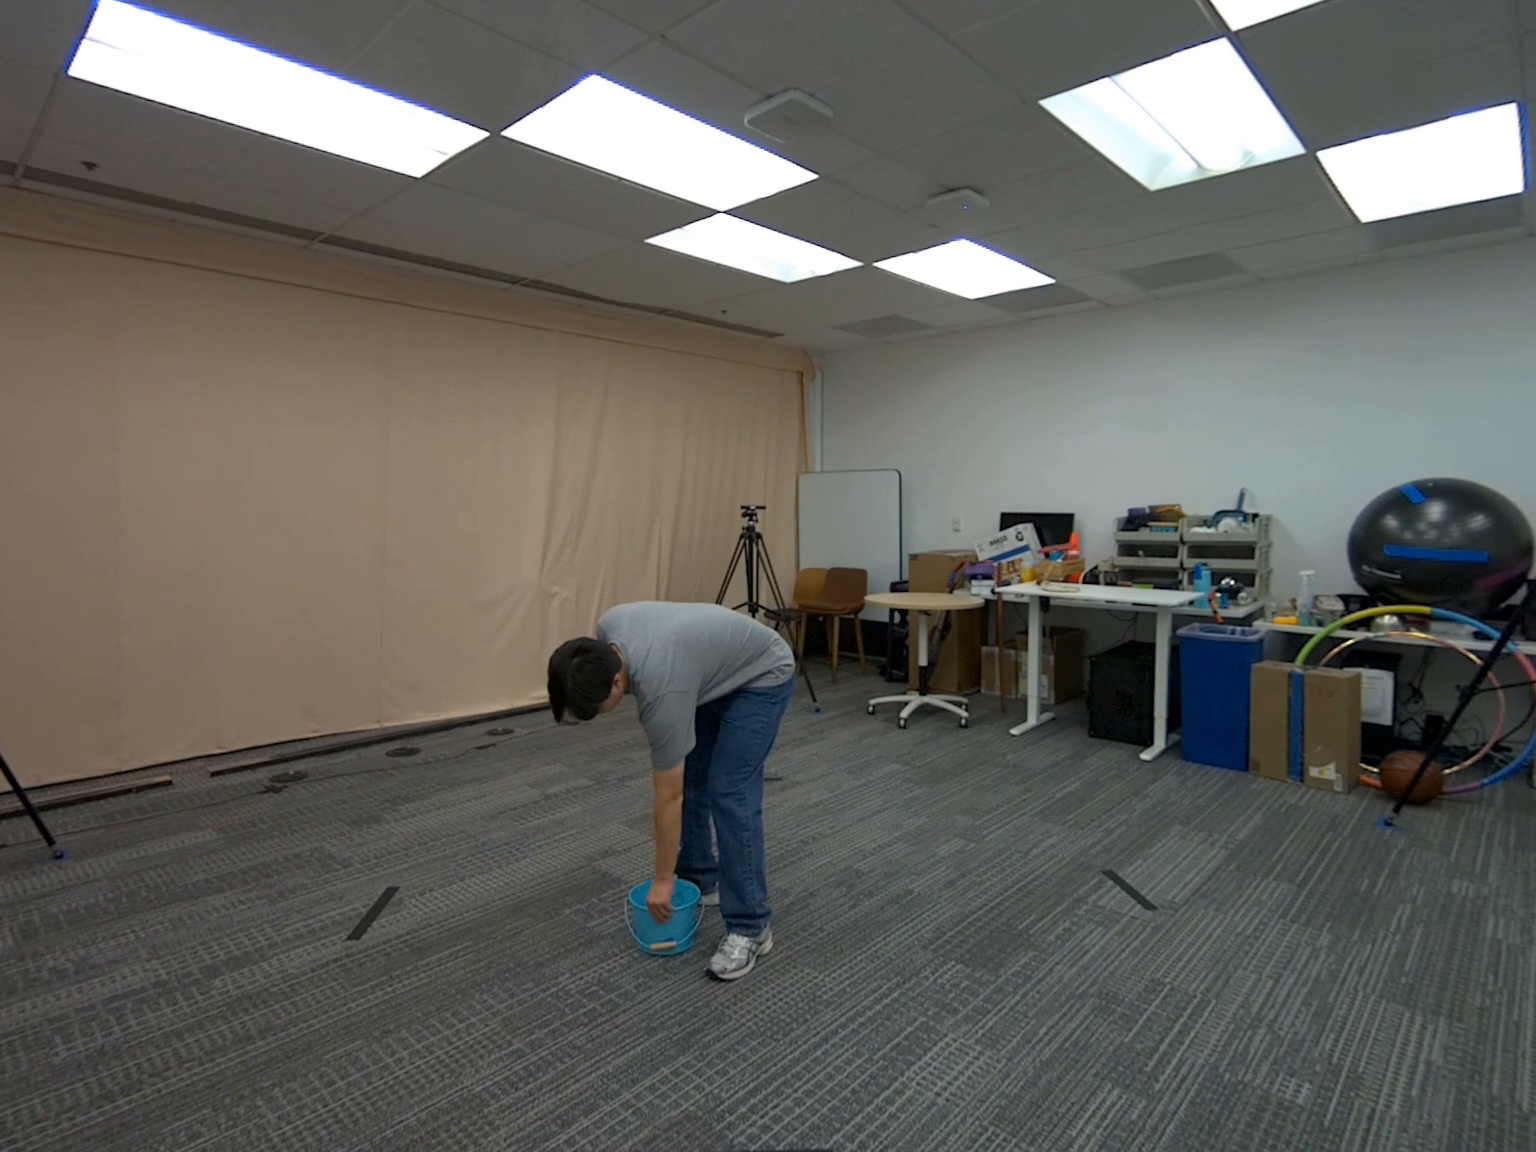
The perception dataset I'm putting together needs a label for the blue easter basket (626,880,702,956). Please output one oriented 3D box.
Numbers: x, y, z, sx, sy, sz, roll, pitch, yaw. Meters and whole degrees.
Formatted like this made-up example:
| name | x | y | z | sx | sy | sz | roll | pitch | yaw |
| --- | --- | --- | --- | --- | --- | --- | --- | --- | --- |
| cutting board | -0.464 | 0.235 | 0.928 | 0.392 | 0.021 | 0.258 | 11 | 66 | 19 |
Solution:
| name | x | y | z | sx | sy | sz | roll | pitch | yaw |
| --- | --- | --- | --- | --- | --- | --- | --- | --- | --- |
| blue easter basket | -0.335 | 1.092 | 2.680 | 0.243 | 0.155 | 0.244 | -1 | 3 | -2 |
